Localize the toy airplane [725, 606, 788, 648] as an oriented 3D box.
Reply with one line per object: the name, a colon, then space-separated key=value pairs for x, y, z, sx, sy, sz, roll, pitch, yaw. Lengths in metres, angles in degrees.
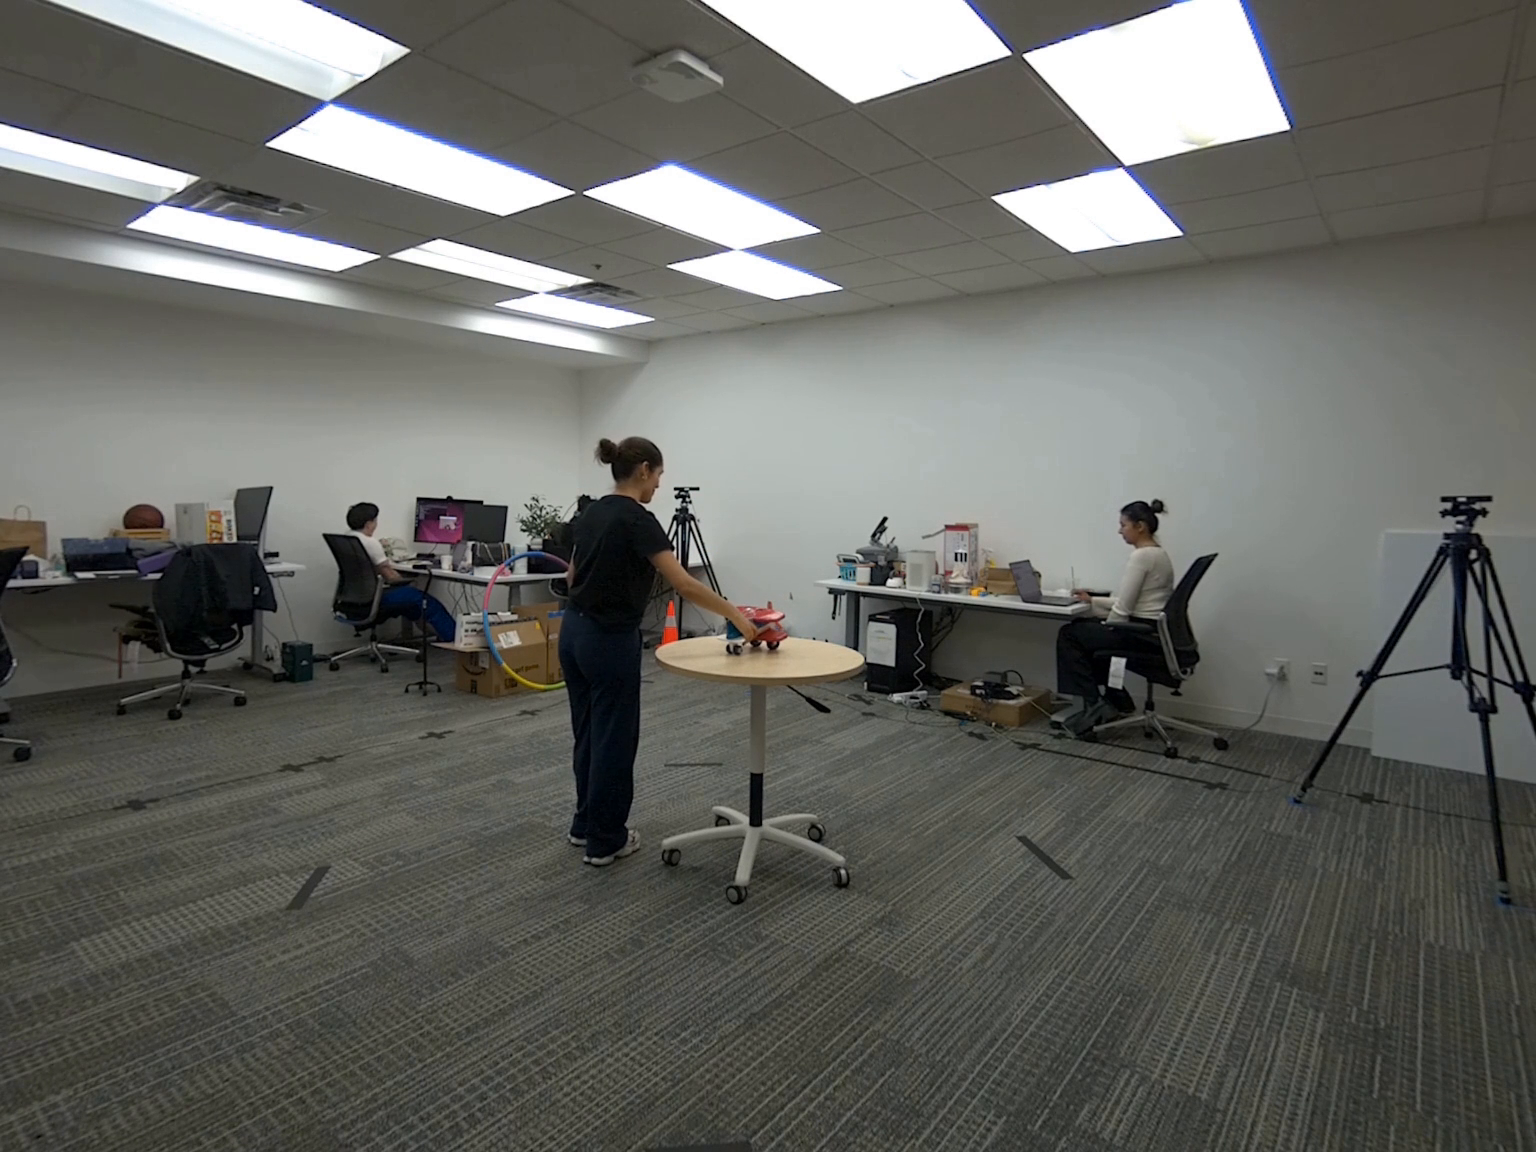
toy airplane: x=-0.041 y=0.205 z=3.186 sx=0.255 sy=0.156 sz=0.256 roll=1 pitch=3 yaw=13
